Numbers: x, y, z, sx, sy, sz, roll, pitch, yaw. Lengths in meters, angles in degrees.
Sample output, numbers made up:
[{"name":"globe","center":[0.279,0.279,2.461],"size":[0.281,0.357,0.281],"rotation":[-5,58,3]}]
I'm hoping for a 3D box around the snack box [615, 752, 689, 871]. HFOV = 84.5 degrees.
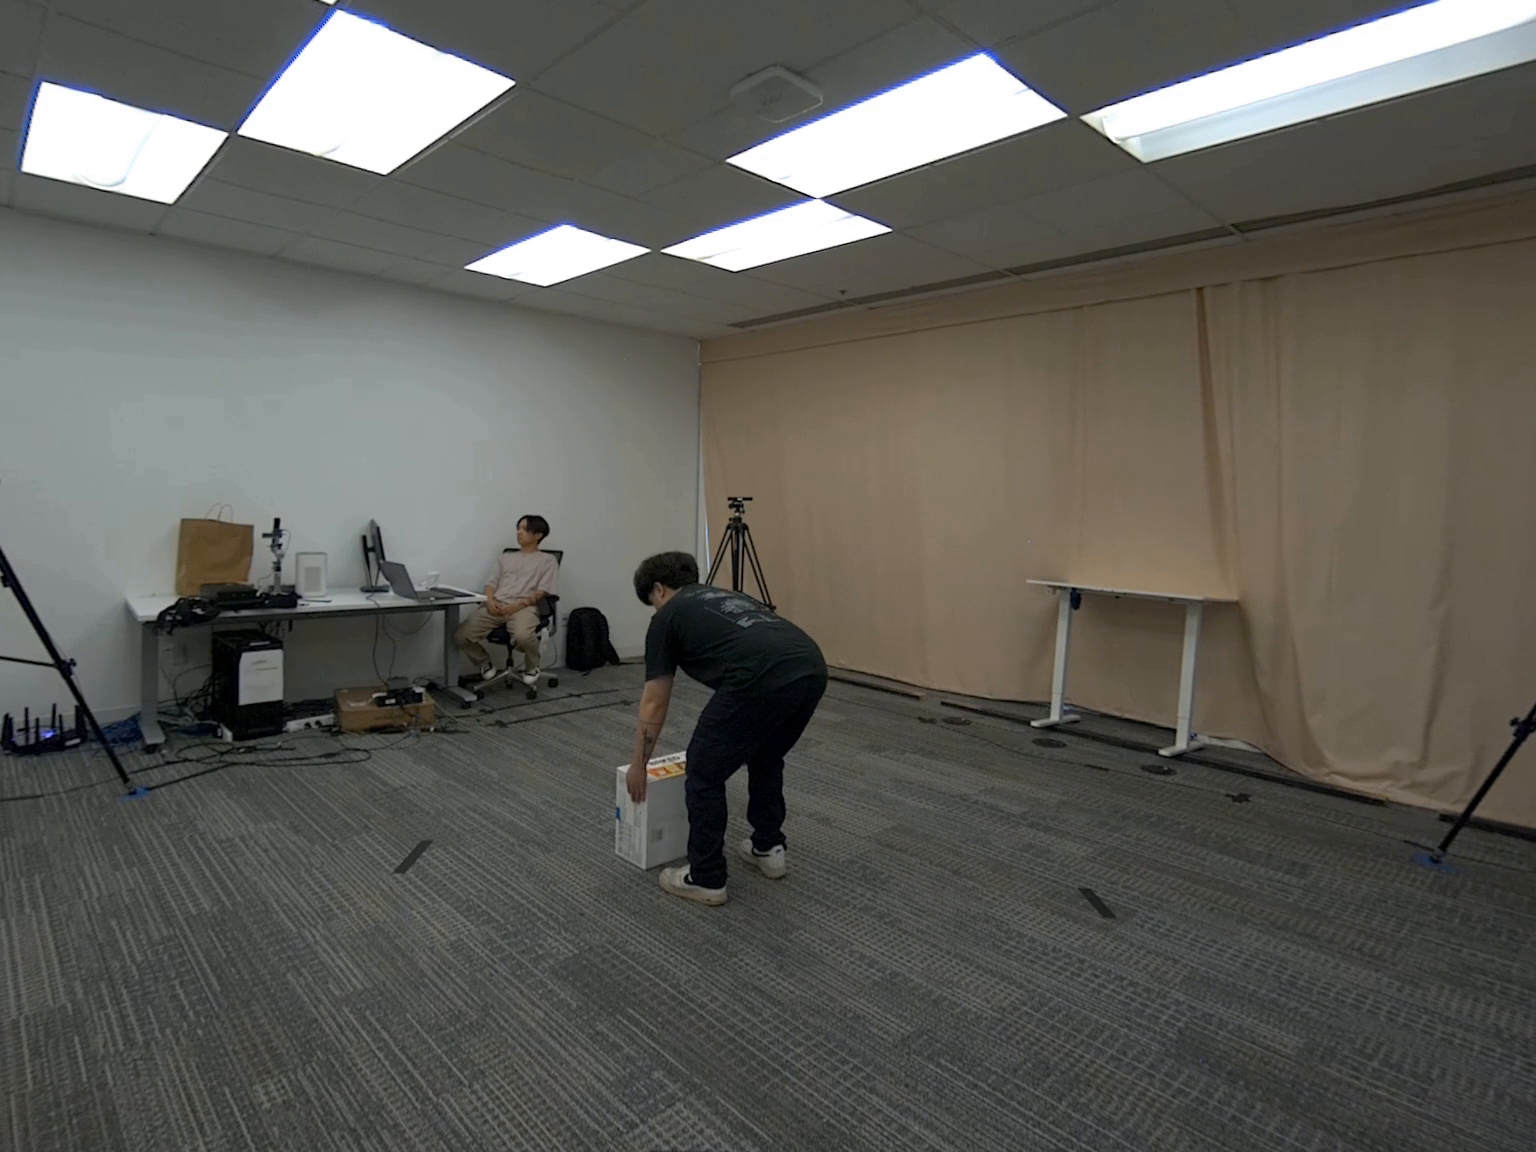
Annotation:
[{"name":"snack box","center":[-0.384,0.911,3.328],"size":[0.396,0.339,0.211],"rotation":[-3,6,-43]}]
